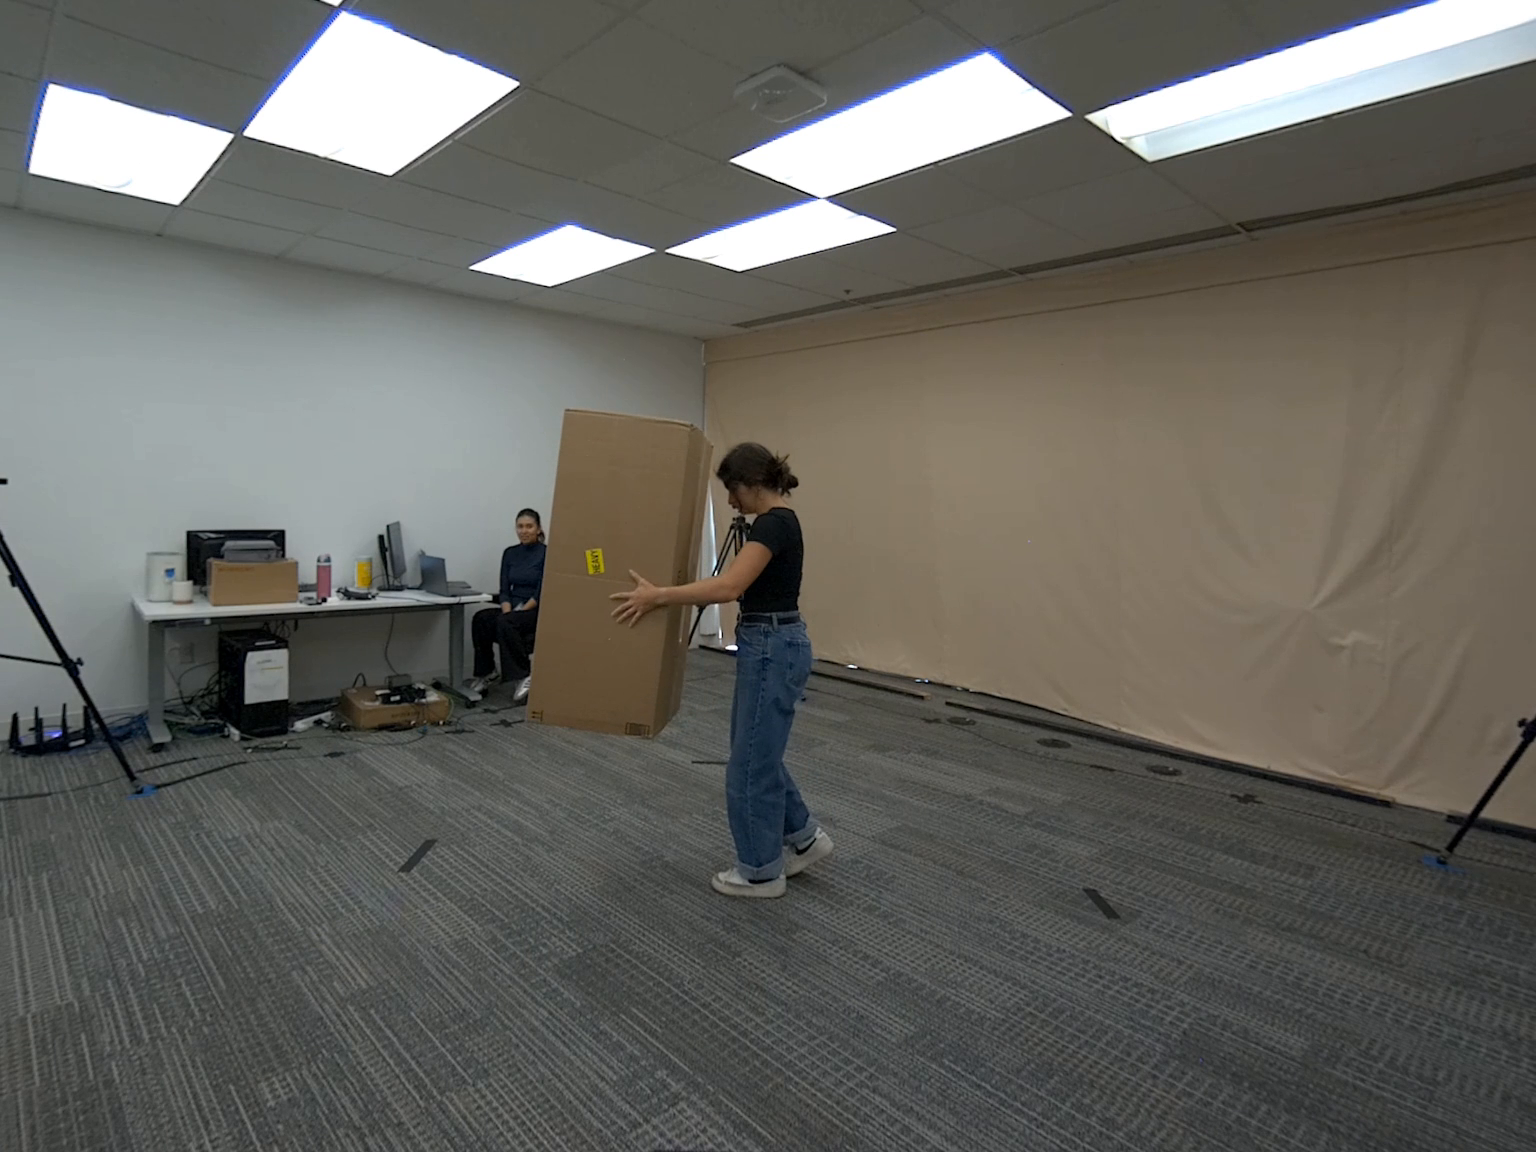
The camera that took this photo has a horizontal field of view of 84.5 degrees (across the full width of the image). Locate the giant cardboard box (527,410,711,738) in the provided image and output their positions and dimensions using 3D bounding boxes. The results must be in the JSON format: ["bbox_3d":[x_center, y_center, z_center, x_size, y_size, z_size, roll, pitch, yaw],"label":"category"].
[{"bbox_3d":[-0.506,-0.017,2.966,0.428,1.025,0.575,7,1,4],"label":"giant cardboard box"}]
